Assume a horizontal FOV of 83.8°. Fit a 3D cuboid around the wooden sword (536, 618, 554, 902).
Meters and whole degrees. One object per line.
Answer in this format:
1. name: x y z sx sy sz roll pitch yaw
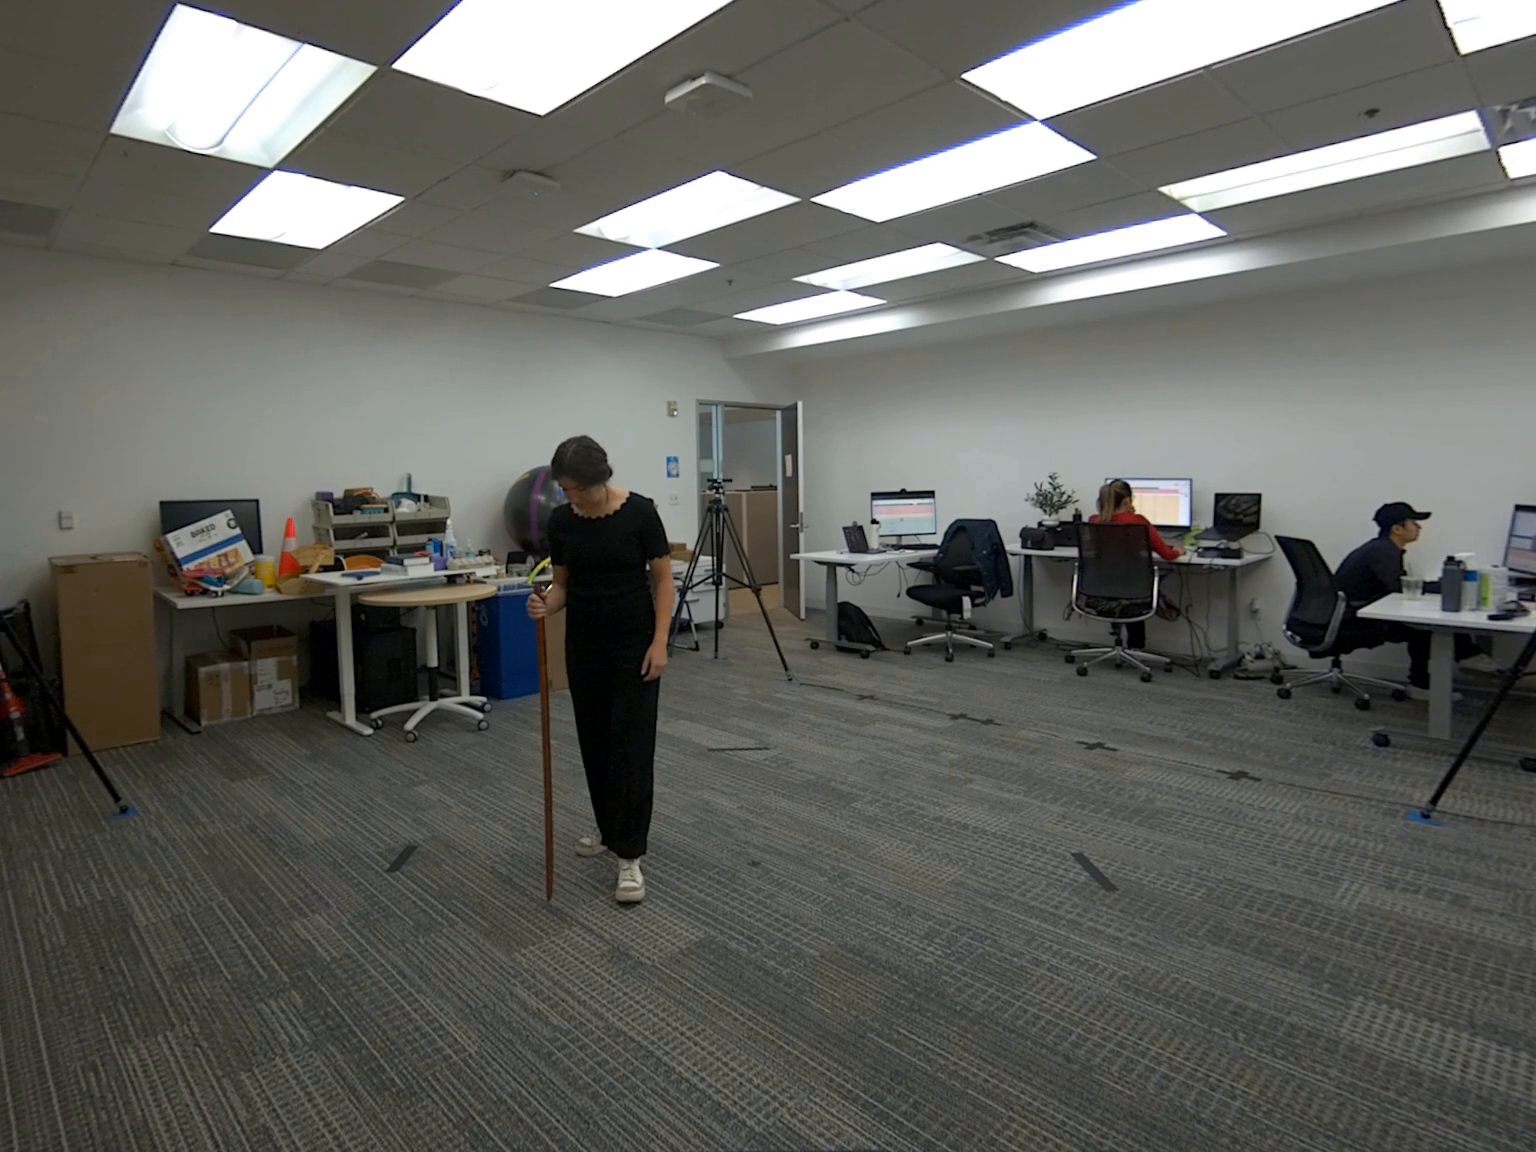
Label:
1. wooden sword: -0.738 0.562 2.837 0.050 1.028 0.025 0 -5 -38
